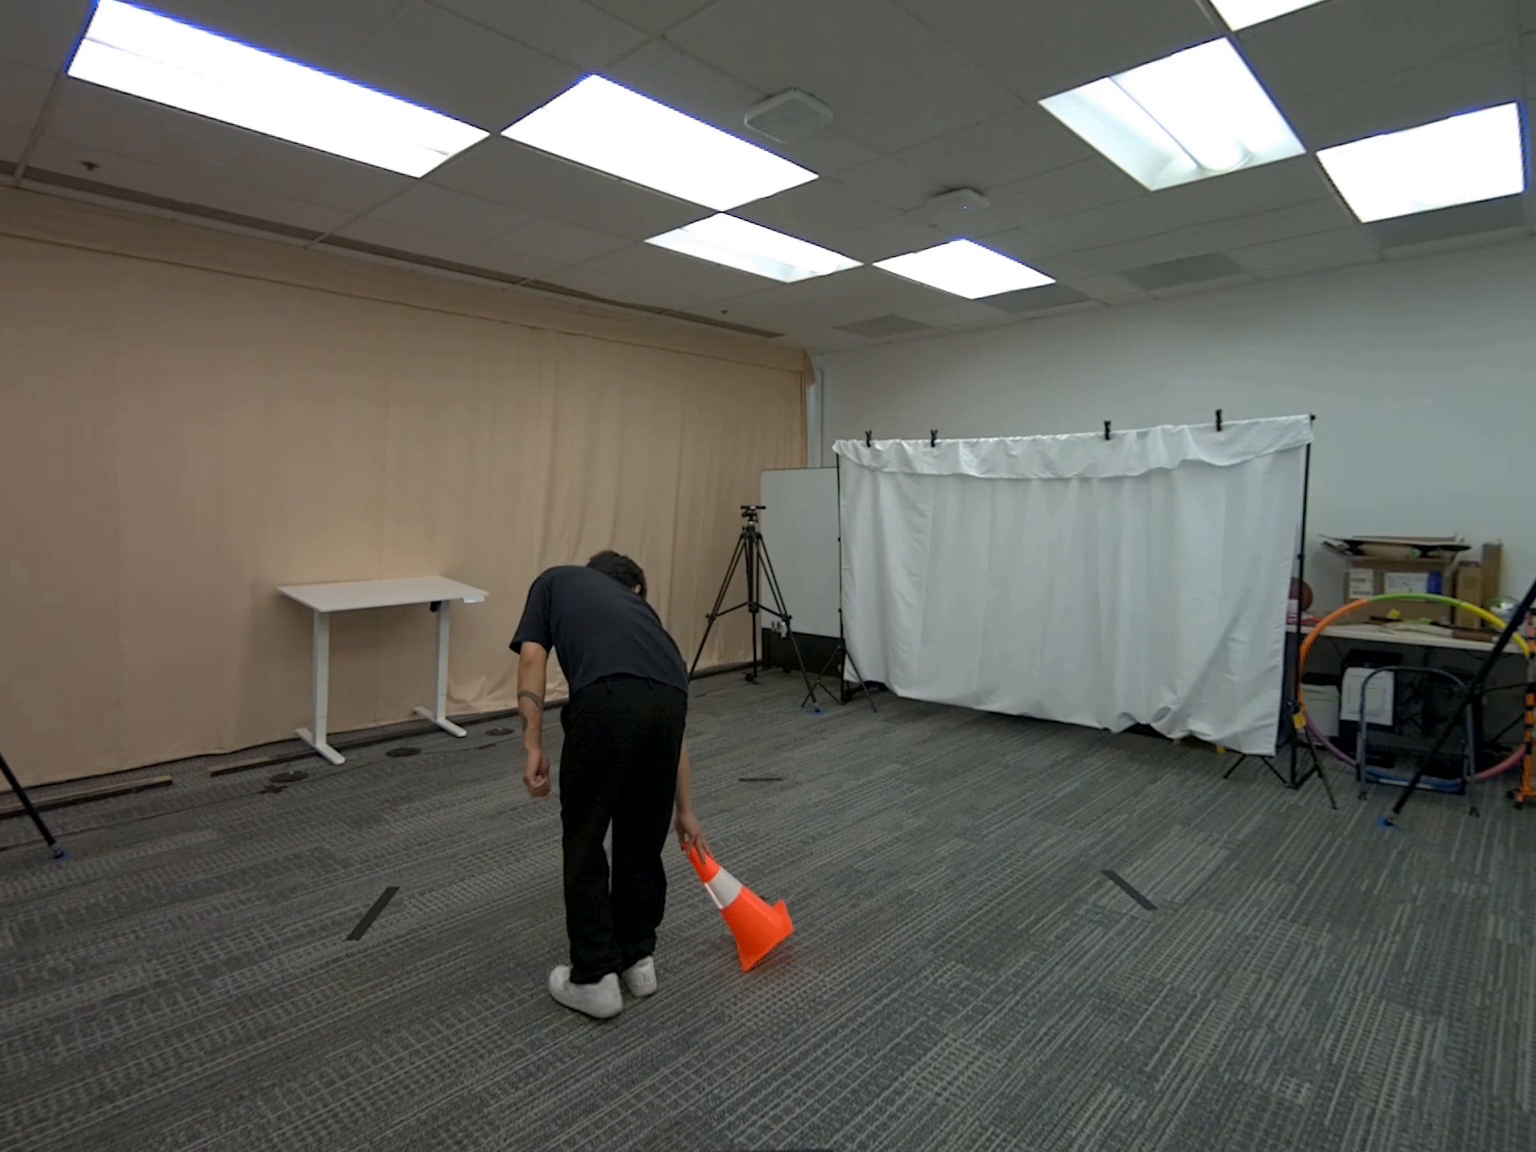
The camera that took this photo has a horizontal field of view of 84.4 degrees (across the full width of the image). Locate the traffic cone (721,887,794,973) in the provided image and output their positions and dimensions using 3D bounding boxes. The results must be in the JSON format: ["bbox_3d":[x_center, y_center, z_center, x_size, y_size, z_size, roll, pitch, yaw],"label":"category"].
[{"bbox_3d":[-0.121,0.972,2.590,0.205,0.381,0.205,-39,5,-2],"label":"traffic cone"}]
